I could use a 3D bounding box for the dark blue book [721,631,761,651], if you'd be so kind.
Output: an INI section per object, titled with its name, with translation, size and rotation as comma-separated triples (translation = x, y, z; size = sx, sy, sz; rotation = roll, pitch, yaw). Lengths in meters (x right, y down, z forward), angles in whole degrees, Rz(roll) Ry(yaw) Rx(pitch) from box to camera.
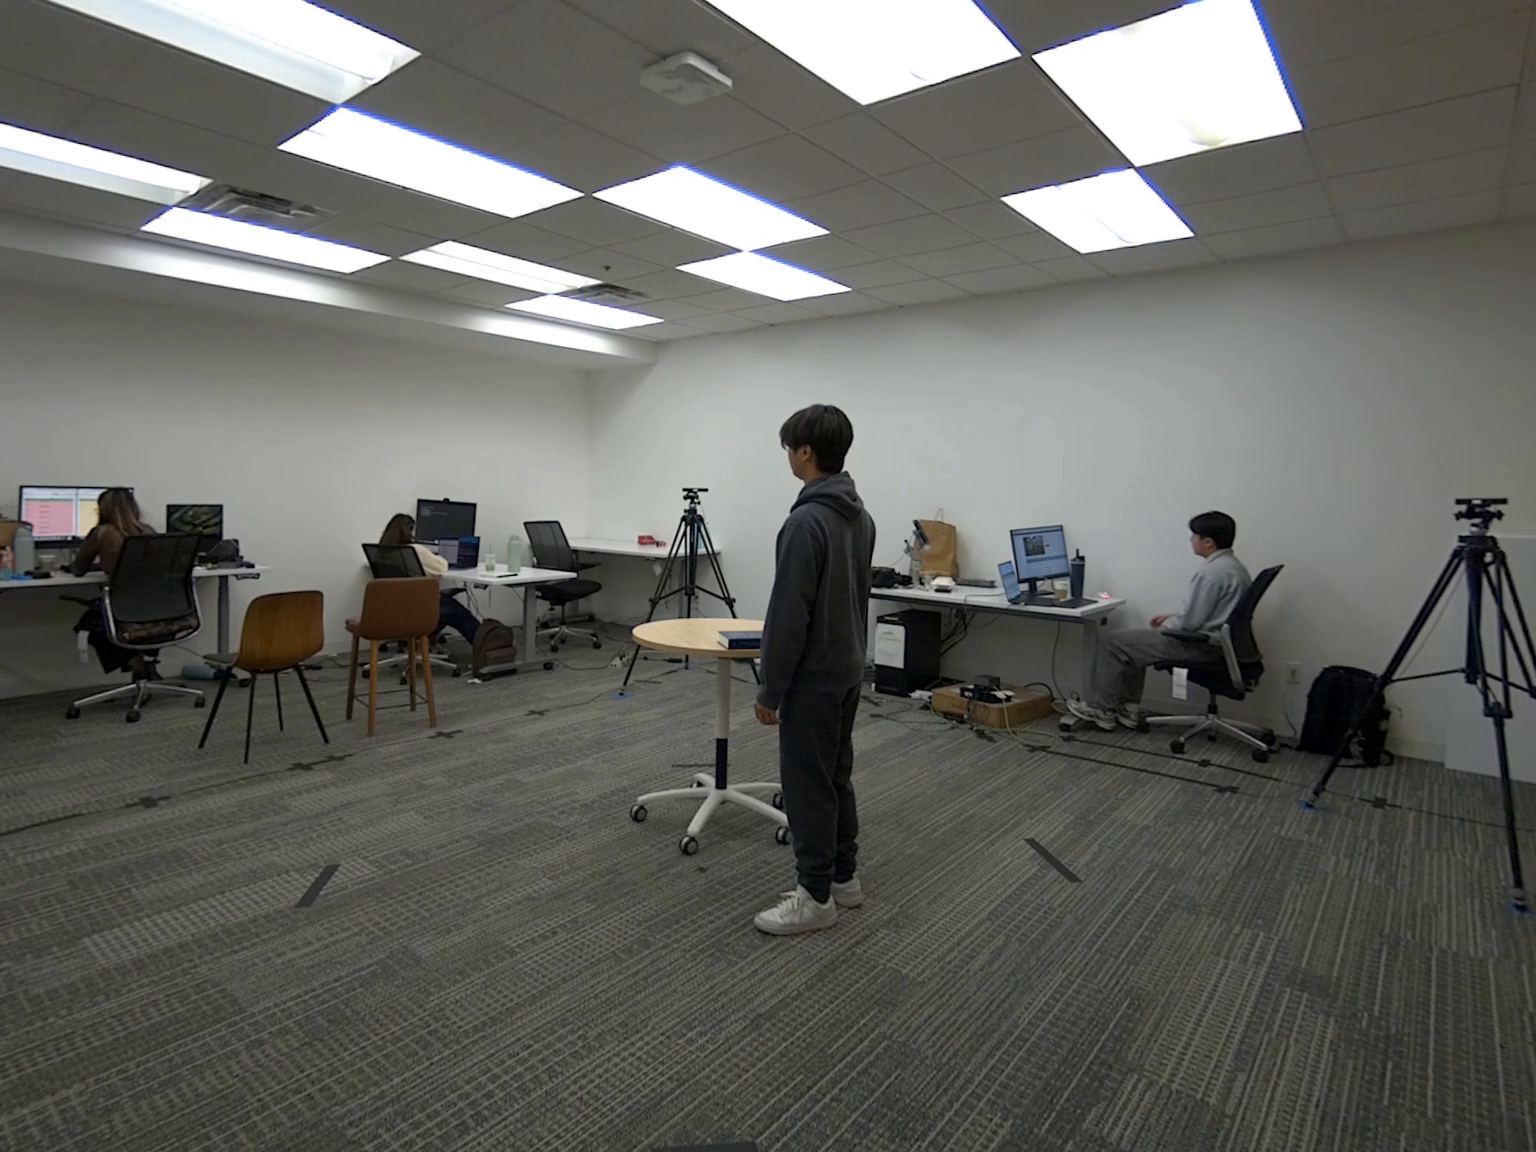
[dark blue book]
translation = -0.065, 0.242, 3.269
size = 0.241, 0.045, 0.167
rotation = 0, 6, -17
